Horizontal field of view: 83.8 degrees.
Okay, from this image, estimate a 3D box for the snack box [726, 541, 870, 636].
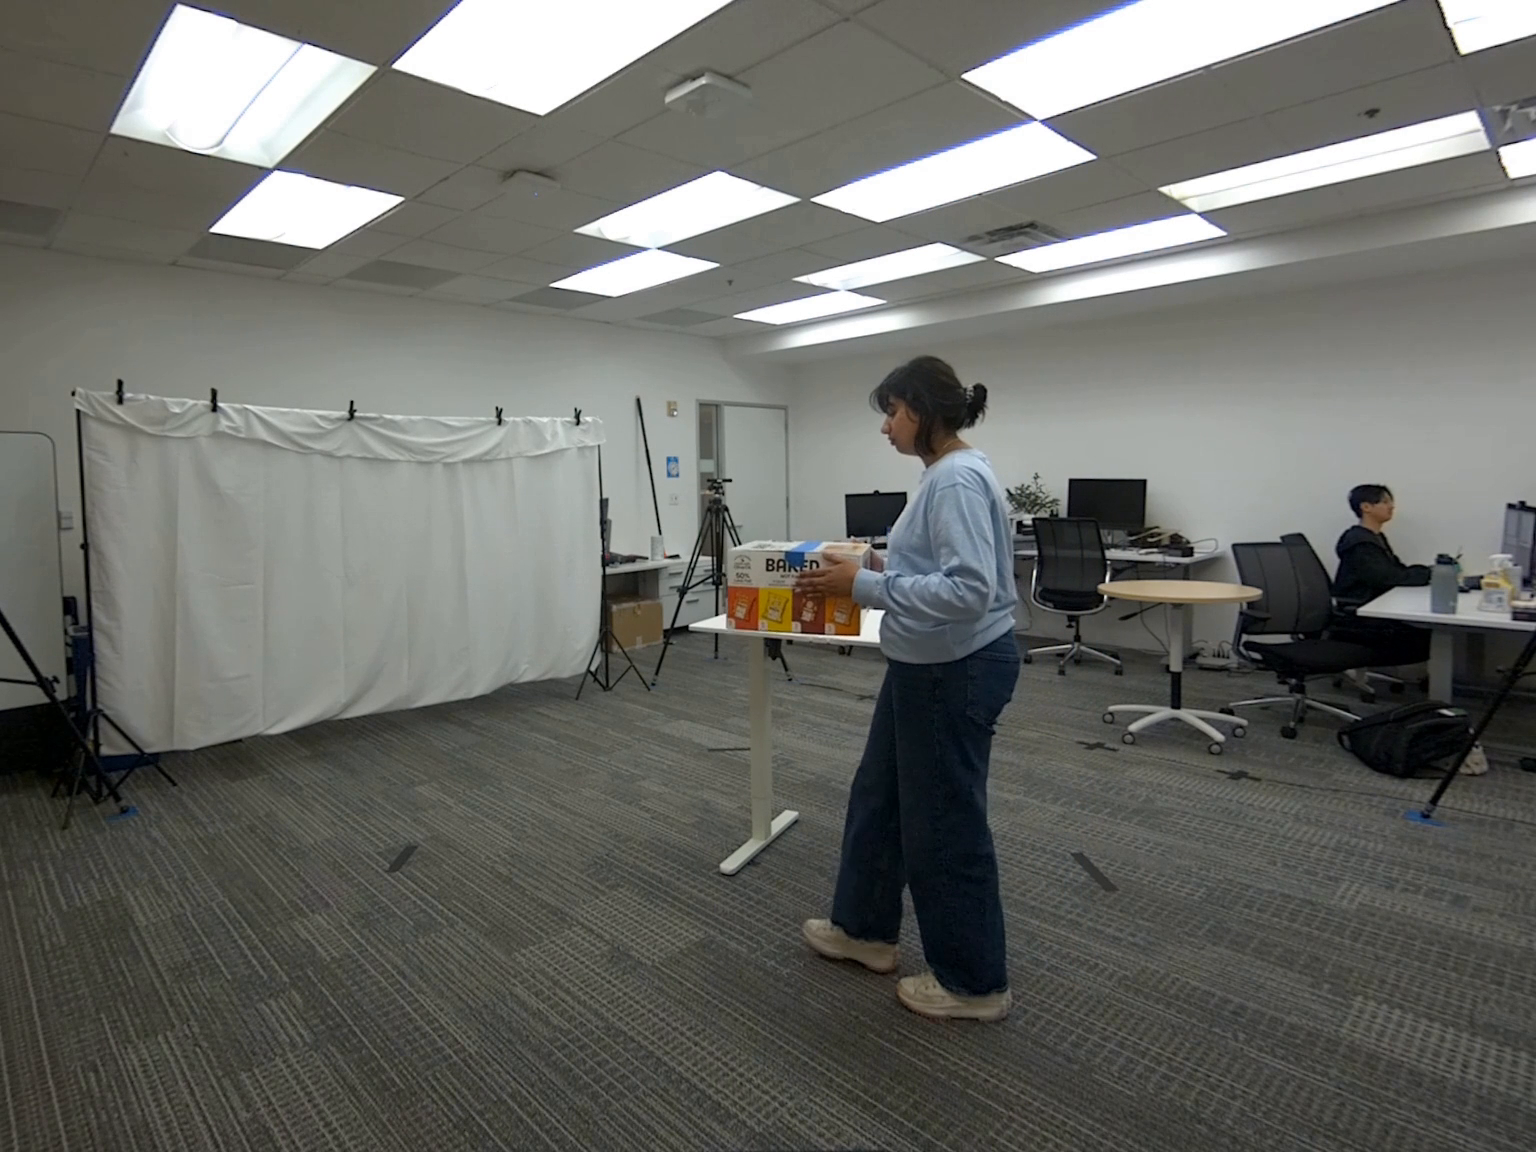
[{"bbox_3d":[0.093,0.018,2.308,0.345,0.205,0.402,2,6,11],"label":"snack box"}]
